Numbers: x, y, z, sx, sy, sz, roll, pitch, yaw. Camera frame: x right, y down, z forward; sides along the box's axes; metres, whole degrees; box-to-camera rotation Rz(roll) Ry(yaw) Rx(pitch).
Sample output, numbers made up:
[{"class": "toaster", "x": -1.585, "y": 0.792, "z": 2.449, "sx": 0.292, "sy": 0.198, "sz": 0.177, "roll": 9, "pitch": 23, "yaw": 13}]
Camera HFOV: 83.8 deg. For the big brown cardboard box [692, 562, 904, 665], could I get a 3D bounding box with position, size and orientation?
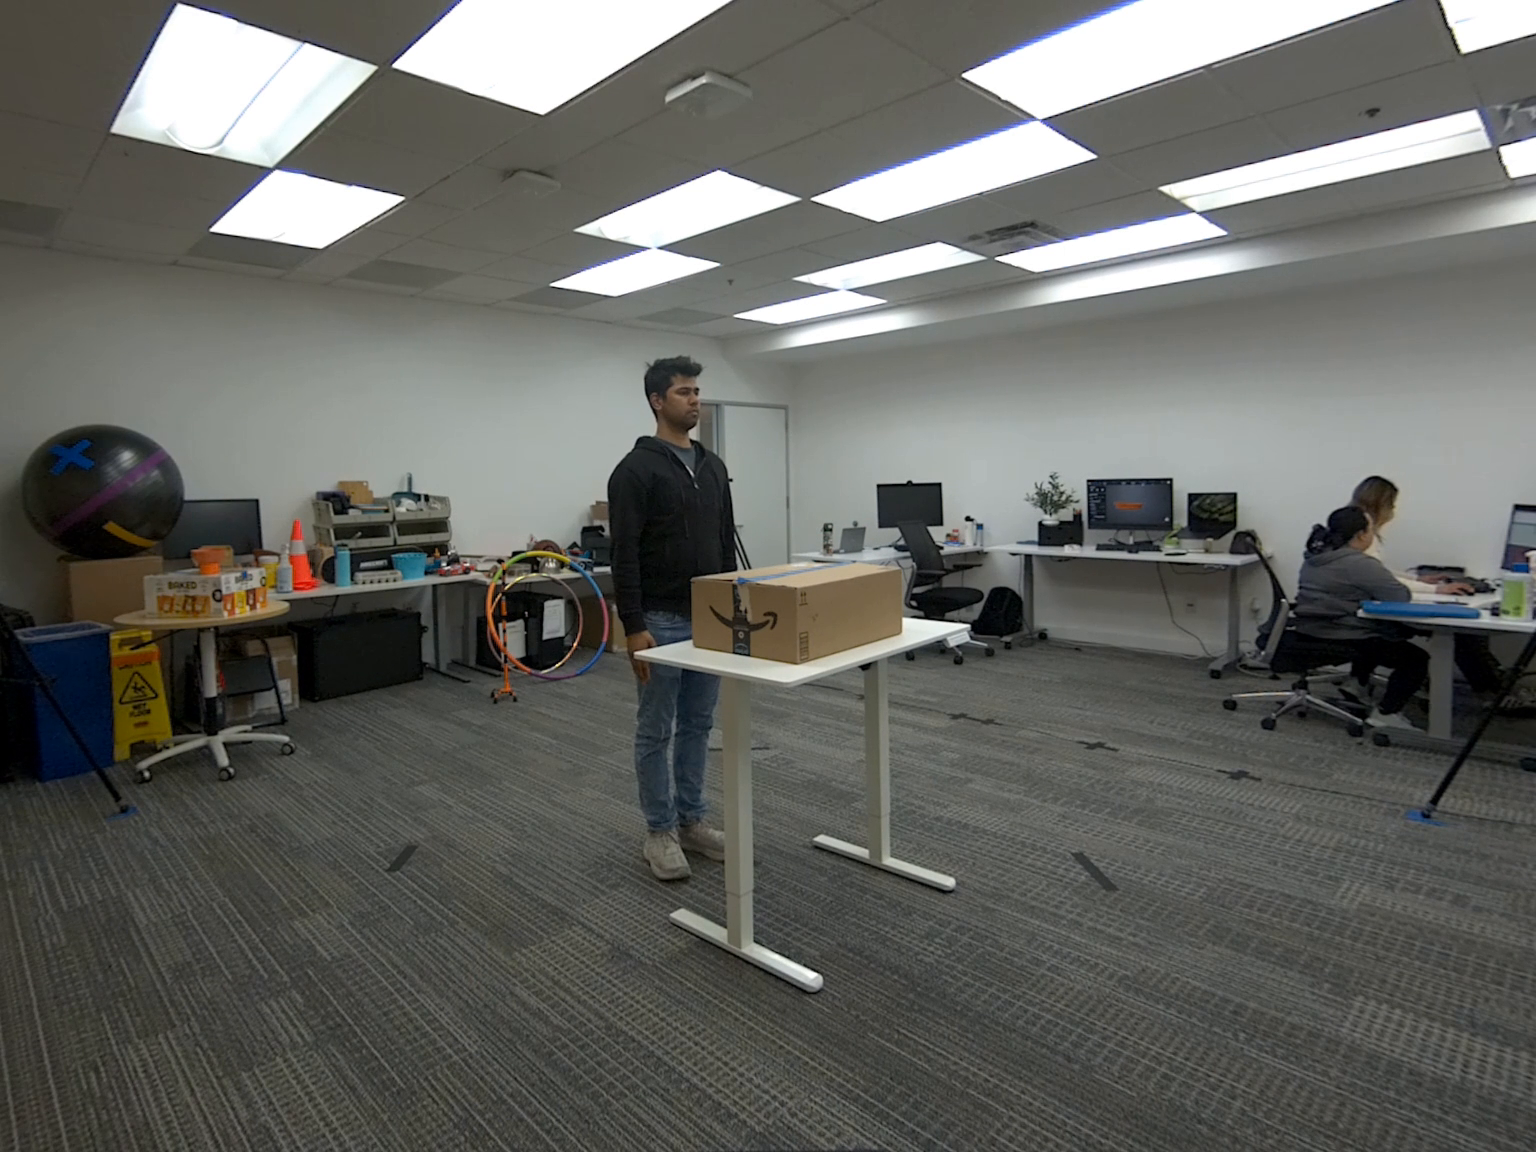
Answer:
[{"class": "big brown cardboard box", "x": 0.099, "y": 0.094, "z": 2.712, "sx": 0.430, "sy": 0.232, "sz": 0.574, "roll": 4, "pitch": 9, "yaw": 41}]
